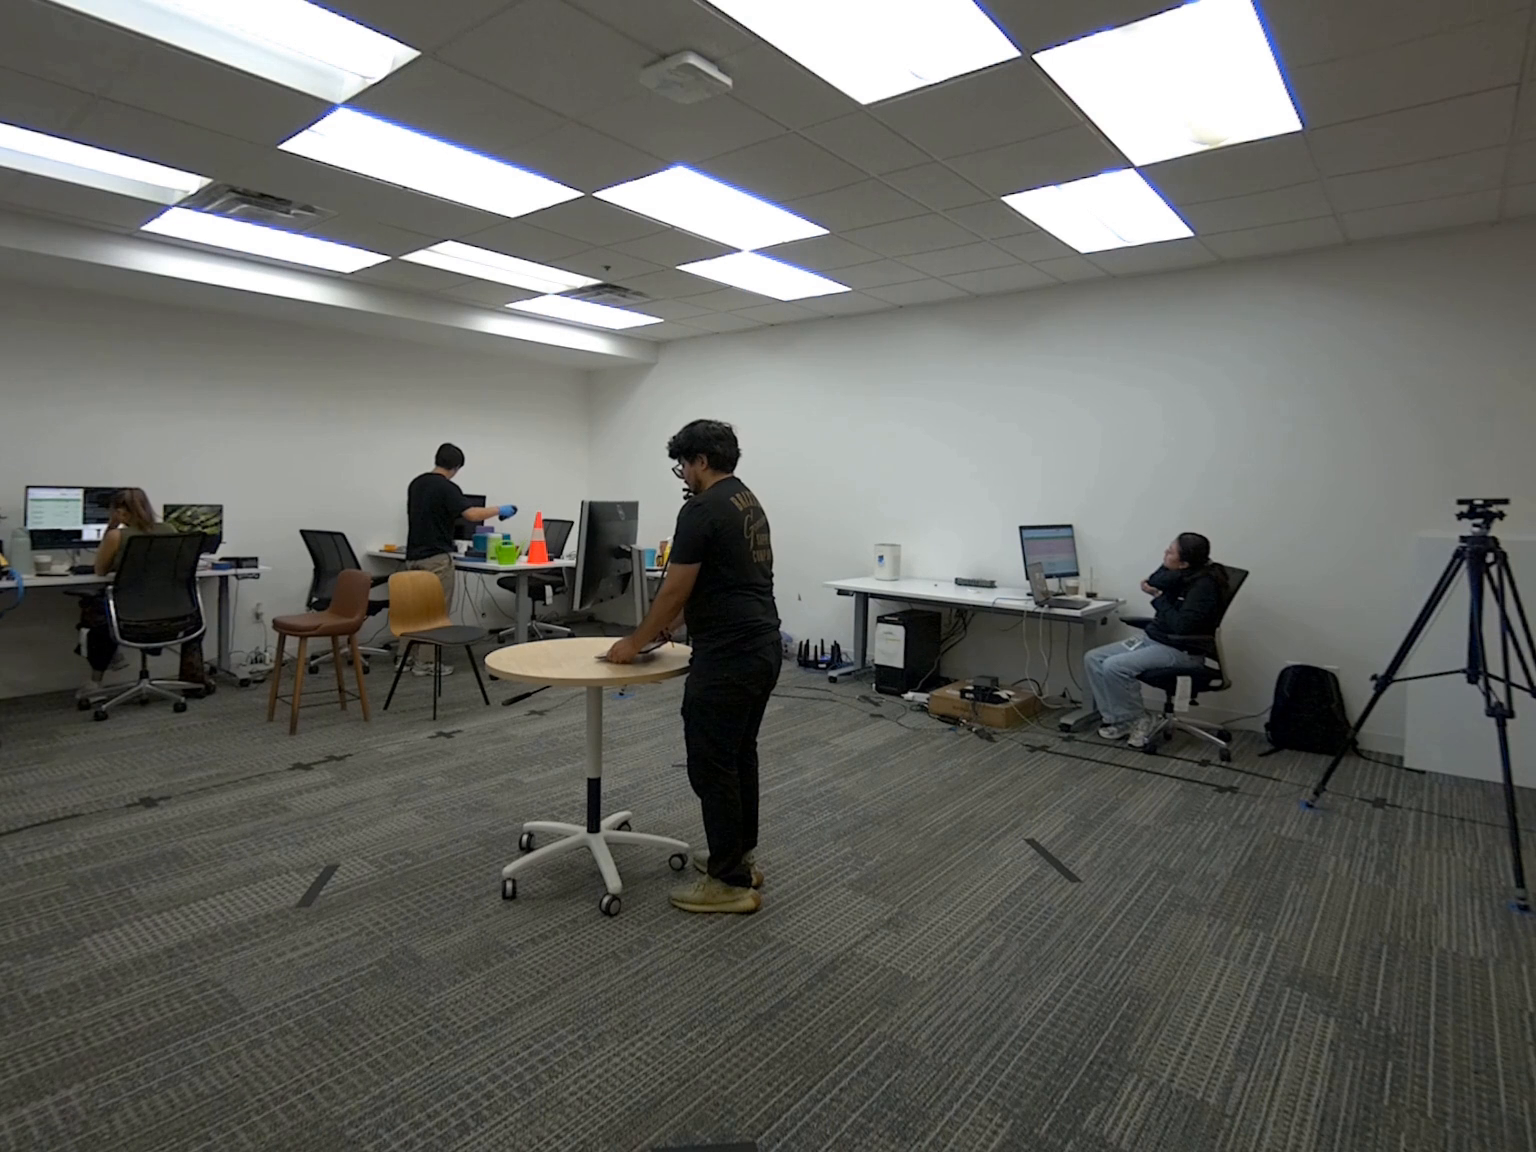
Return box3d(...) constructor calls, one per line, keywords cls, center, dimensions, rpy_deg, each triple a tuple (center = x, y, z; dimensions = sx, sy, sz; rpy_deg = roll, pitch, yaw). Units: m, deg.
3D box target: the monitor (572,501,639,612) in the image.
box3d(cls="monitor", center=(-0.508, -0.001, 3.027), dimensions=(0.212, 0.553, 0.560), rpy_deg=(-1, 3, 10))
